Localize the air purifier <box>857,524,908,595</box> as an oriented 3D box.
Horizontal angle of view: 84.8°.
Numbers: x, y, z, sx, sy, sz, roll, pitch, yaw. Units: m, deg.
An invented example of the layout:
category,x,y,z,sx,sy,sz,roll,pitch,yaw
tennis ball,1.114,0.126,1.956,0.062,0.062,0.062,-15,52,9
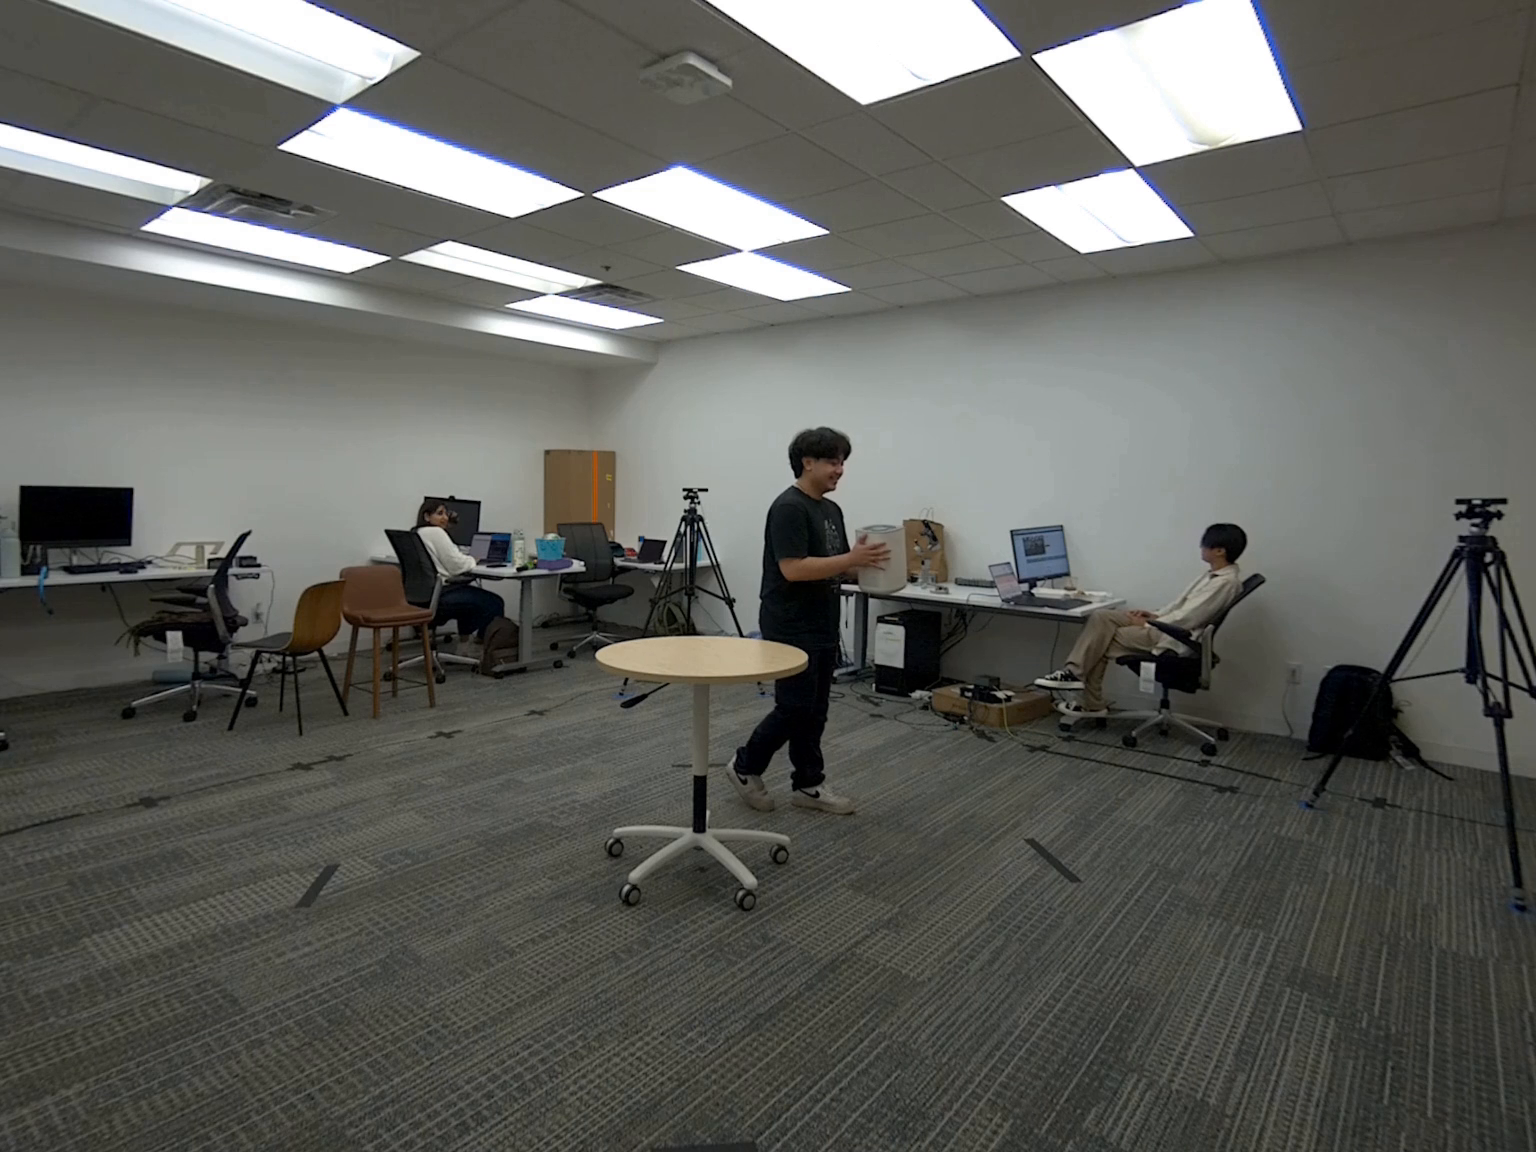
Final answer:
category,x,y,z,sx,sy,sz,roll,pitch,yaw
air purifier,0.456,-0.071,3.511,0.177,0.262,0.167,6,15,39
